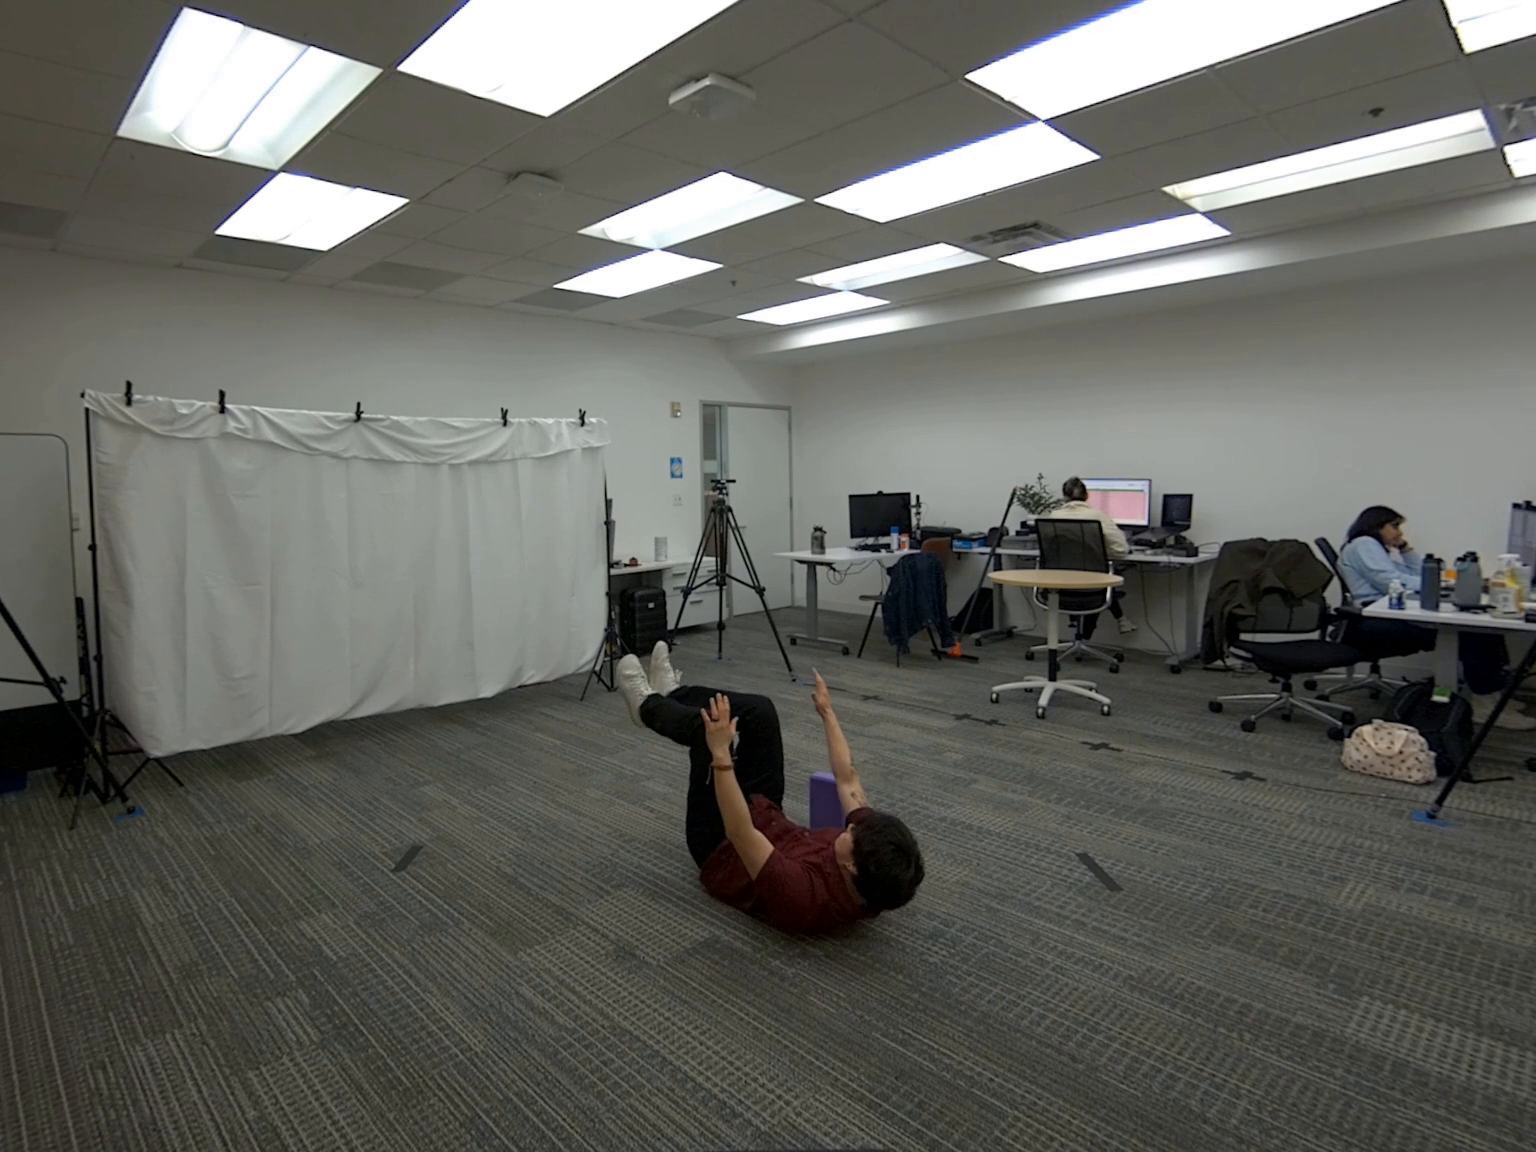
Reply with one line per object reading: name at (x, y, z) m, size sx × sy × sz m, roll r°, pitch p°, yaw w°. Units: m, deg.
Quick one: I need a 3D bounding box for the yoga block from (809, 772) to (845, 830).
yoga block at (0.240, 0.897, 3.354) m, size 0.153 × 0.228 × 0.074 m, roll 2°, pitch 6°, yaw 37°
